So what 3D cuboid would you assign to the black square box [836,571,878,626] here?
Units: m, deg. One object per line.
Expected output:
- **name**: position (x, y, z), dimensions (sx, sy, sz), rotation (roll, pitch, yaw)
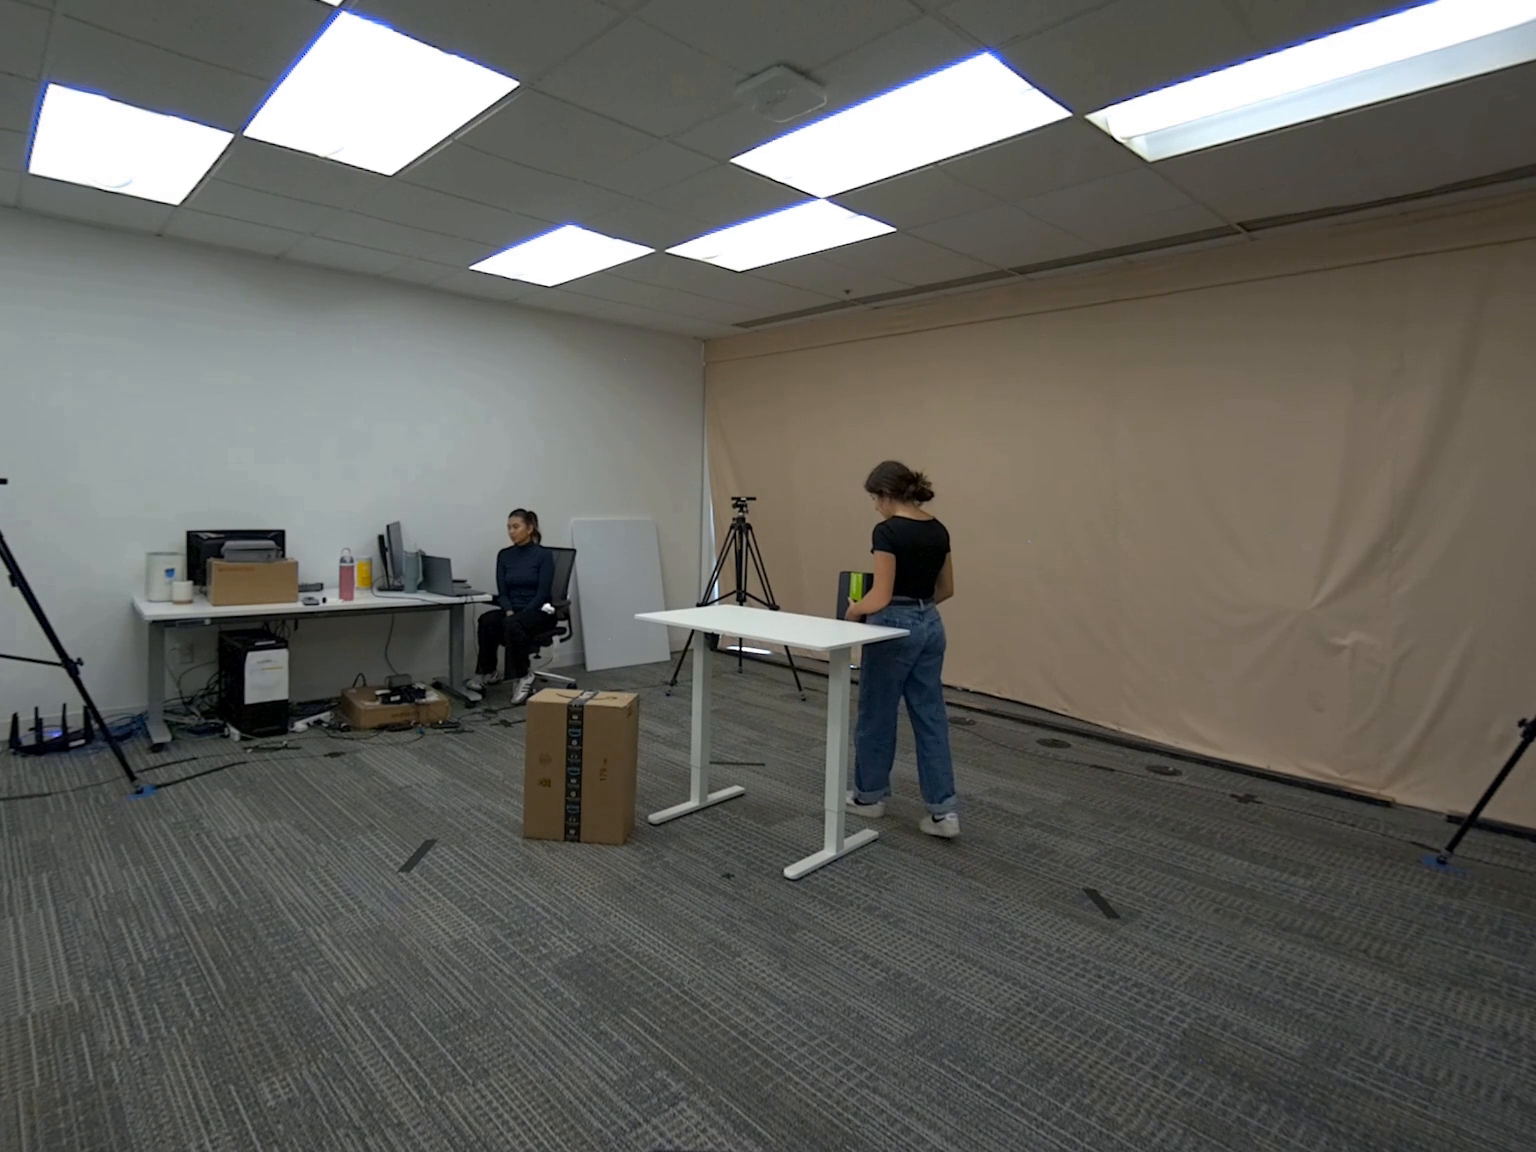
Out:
- **black square box**: position (0.447, 0.099, 3.818), dimensions (0.211, 0.228, 0.160), rotation (4, 0, -42)
